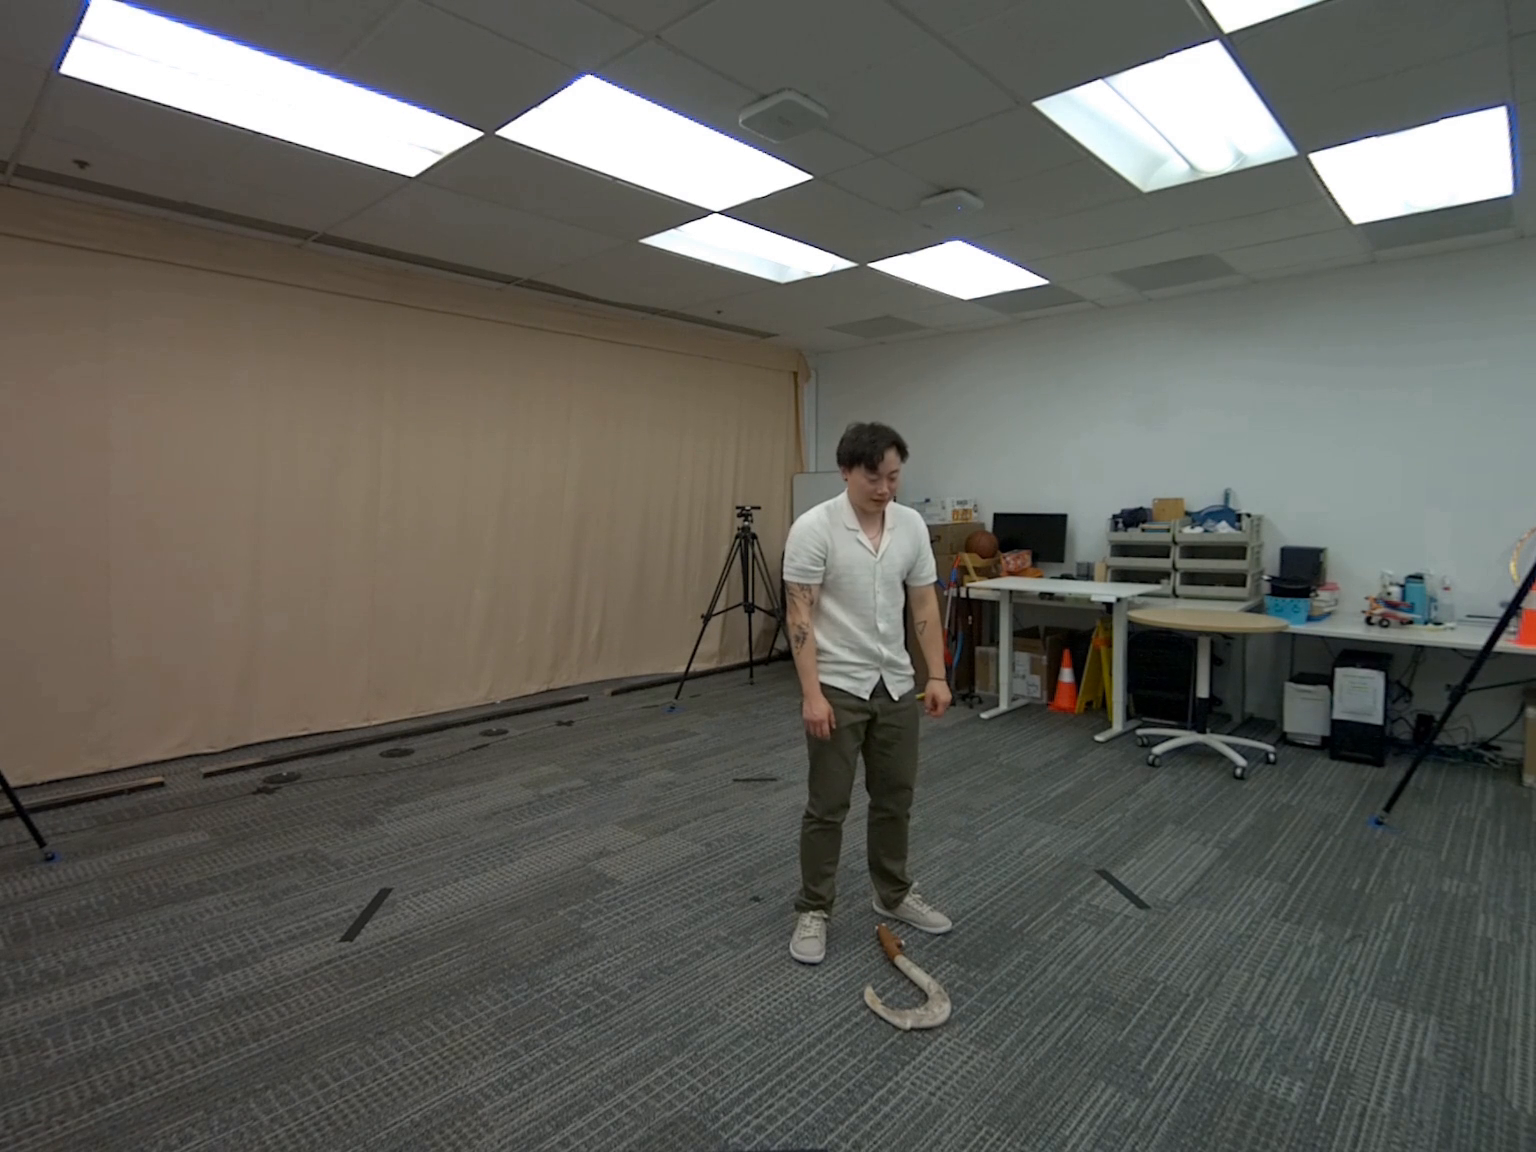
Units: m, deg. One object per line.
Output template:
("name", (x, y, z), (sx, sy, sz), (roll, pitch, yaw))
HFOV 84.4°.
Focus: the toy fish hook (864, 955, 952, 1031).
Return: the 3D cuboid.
("toy fish hook", (0.363, 1.159, 2.476), (0.222, 0.048, 0.512), (0, 4, -10))
